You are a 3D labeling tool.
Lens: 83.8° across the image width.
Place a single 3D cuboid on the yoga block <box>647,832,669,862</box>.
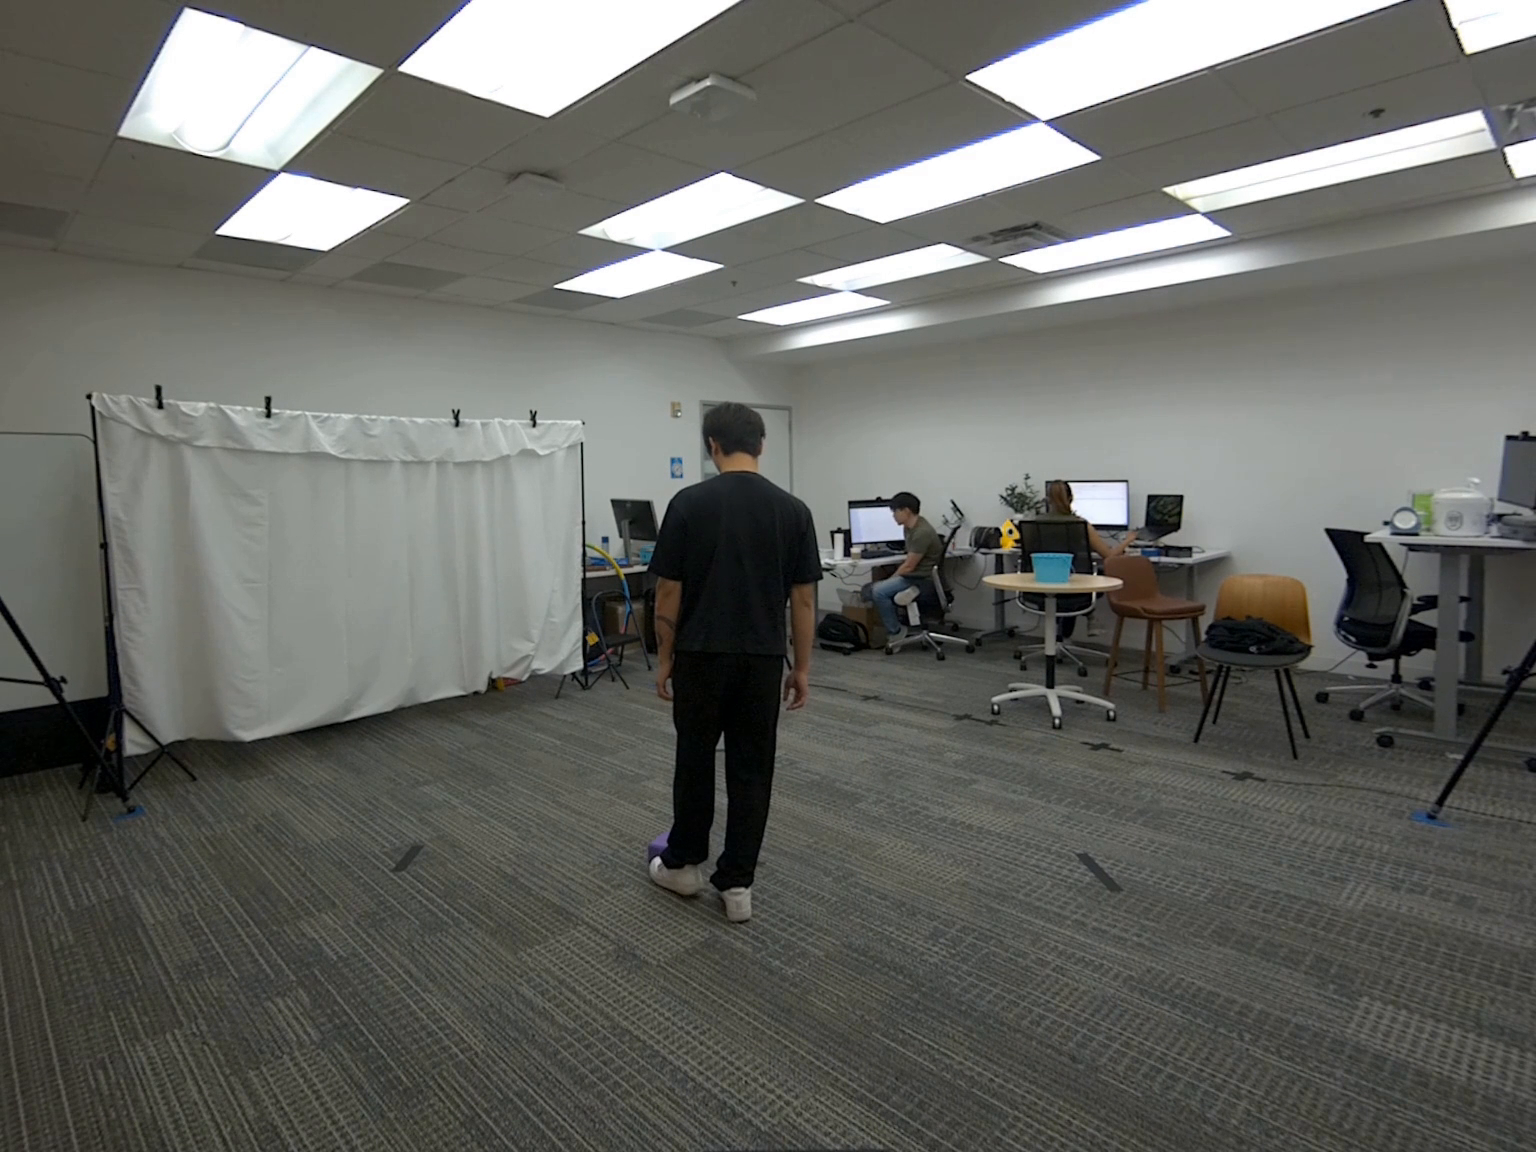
[{"bbox_3d":[-0.323,1.005,3.176,0.152,0.076,0.225,2,5,24],"label":"yoga block"}]
